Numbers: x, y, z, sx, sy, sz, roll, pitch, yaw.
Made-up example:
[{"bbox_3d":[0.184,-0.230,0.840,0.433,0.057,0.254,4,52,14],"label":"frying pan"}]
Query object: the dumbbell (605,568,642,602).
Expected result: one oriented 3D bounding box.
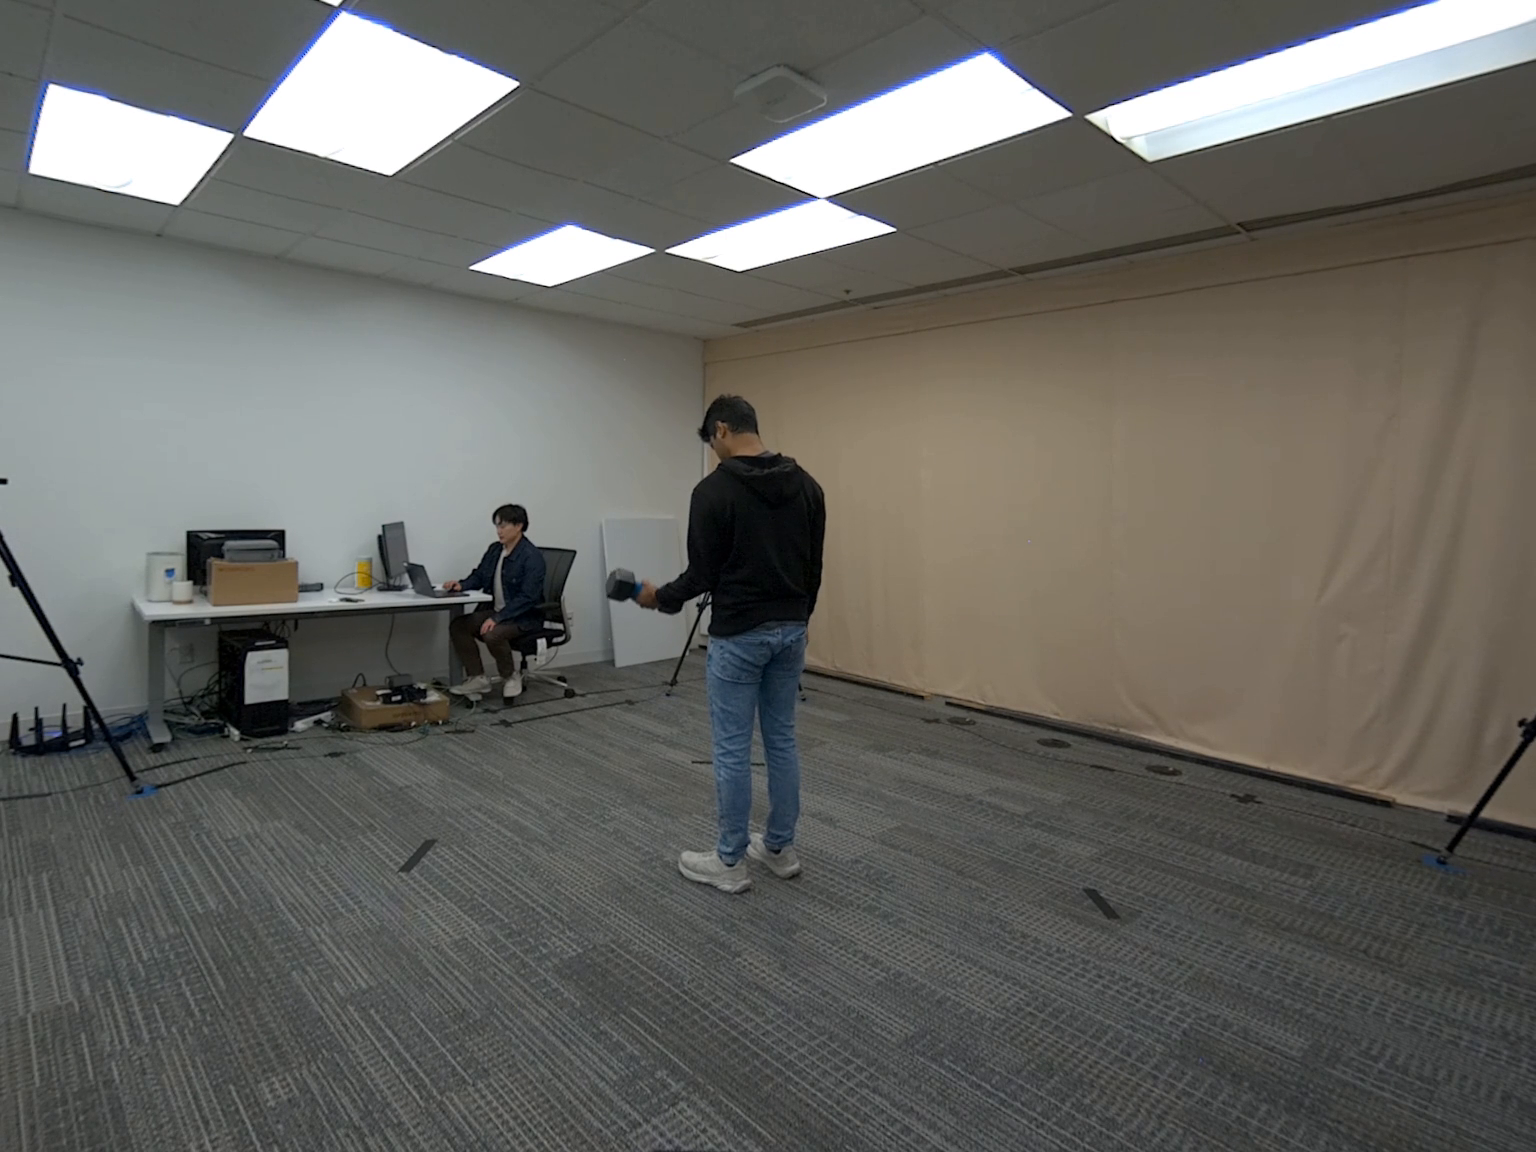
[{"bbox_3d":[-0.448,0.055,3.162,0.287,0.108,0.126,17,34,-24],"label":"dumbbell"}]
